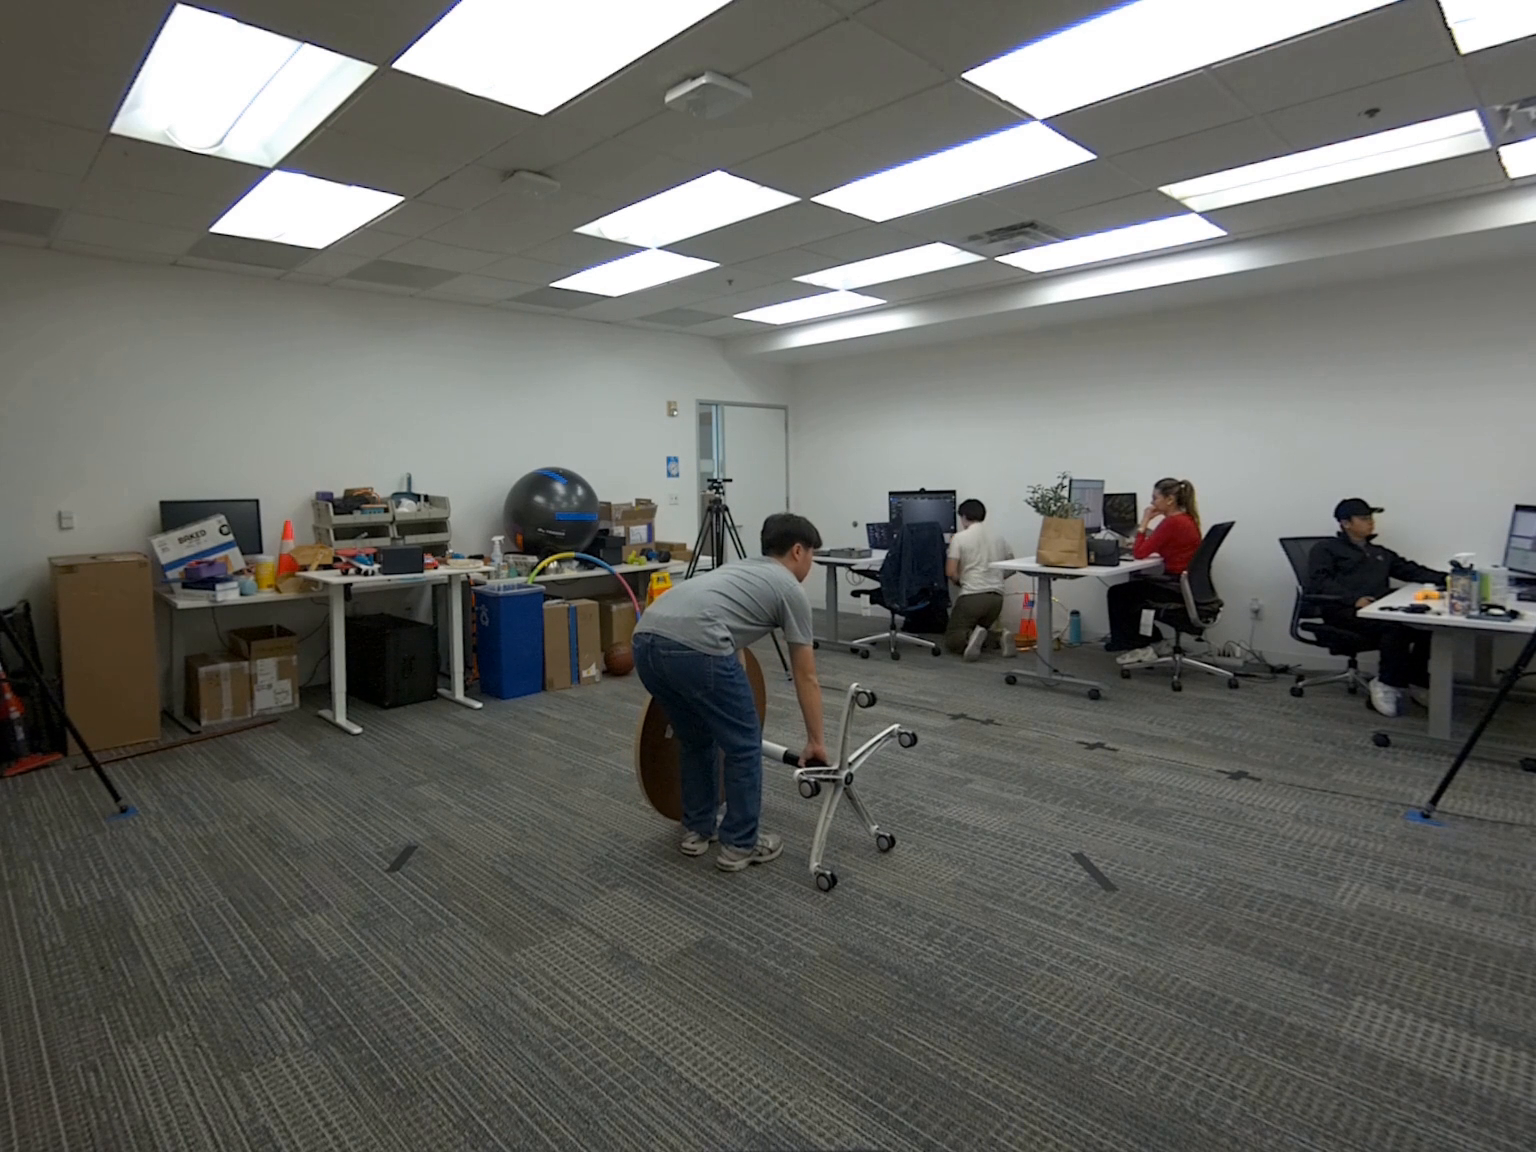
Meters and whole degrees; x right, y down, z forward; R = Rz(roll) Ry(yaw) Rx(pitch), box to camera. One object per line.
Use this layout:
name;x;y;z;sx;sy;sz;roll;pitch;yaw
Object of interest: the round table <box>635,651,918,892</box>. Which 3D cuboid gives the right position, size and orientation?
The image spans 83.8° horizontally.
round table;0.050;0.681;3.259;0.820;0.759;0.744;11;11;39
